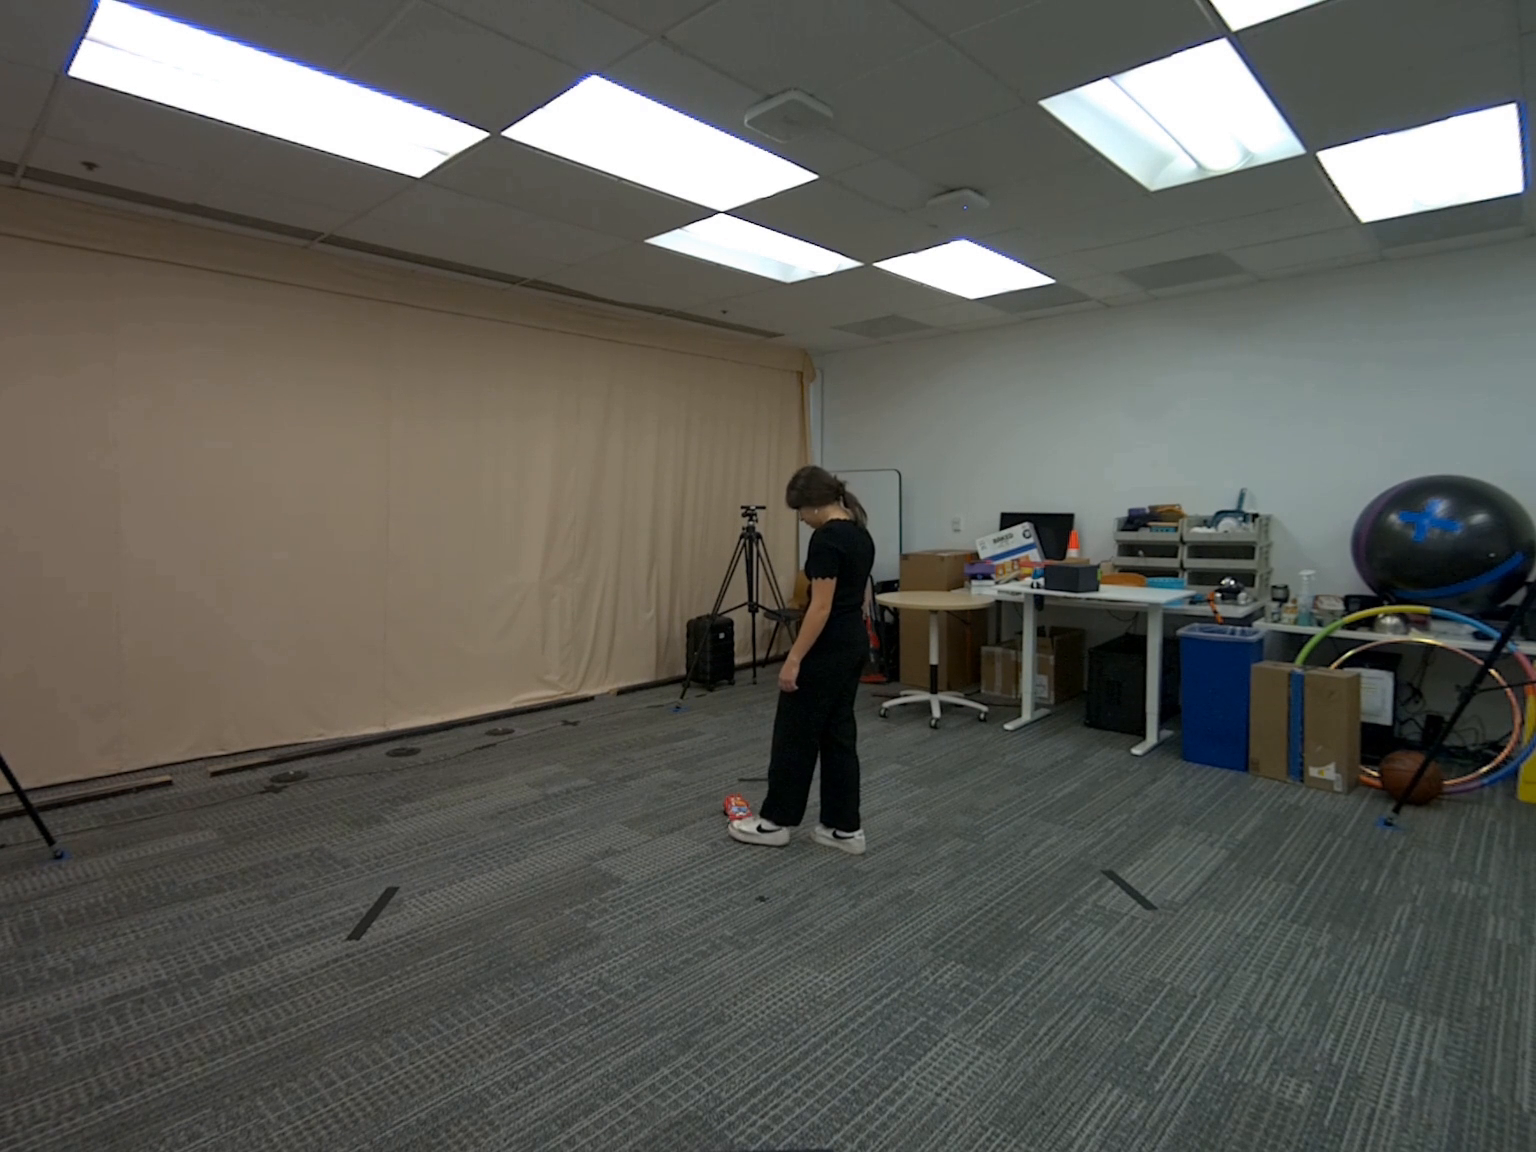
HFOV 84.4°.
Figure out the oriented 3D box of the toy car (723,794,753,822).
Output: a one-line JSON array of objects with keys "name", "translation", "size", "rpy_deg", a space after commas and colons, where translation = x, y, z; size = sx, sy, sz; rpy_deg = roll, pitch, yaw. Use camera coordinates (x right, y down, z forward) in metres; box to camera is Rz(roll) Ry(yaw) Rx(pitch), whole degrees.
[{"name": "toy car", "translation": [-0.133, 1.046, 3.765], "size": [0.129, 0.082, 0.259], "rpy_deg": [-1, 15, -10]}]
